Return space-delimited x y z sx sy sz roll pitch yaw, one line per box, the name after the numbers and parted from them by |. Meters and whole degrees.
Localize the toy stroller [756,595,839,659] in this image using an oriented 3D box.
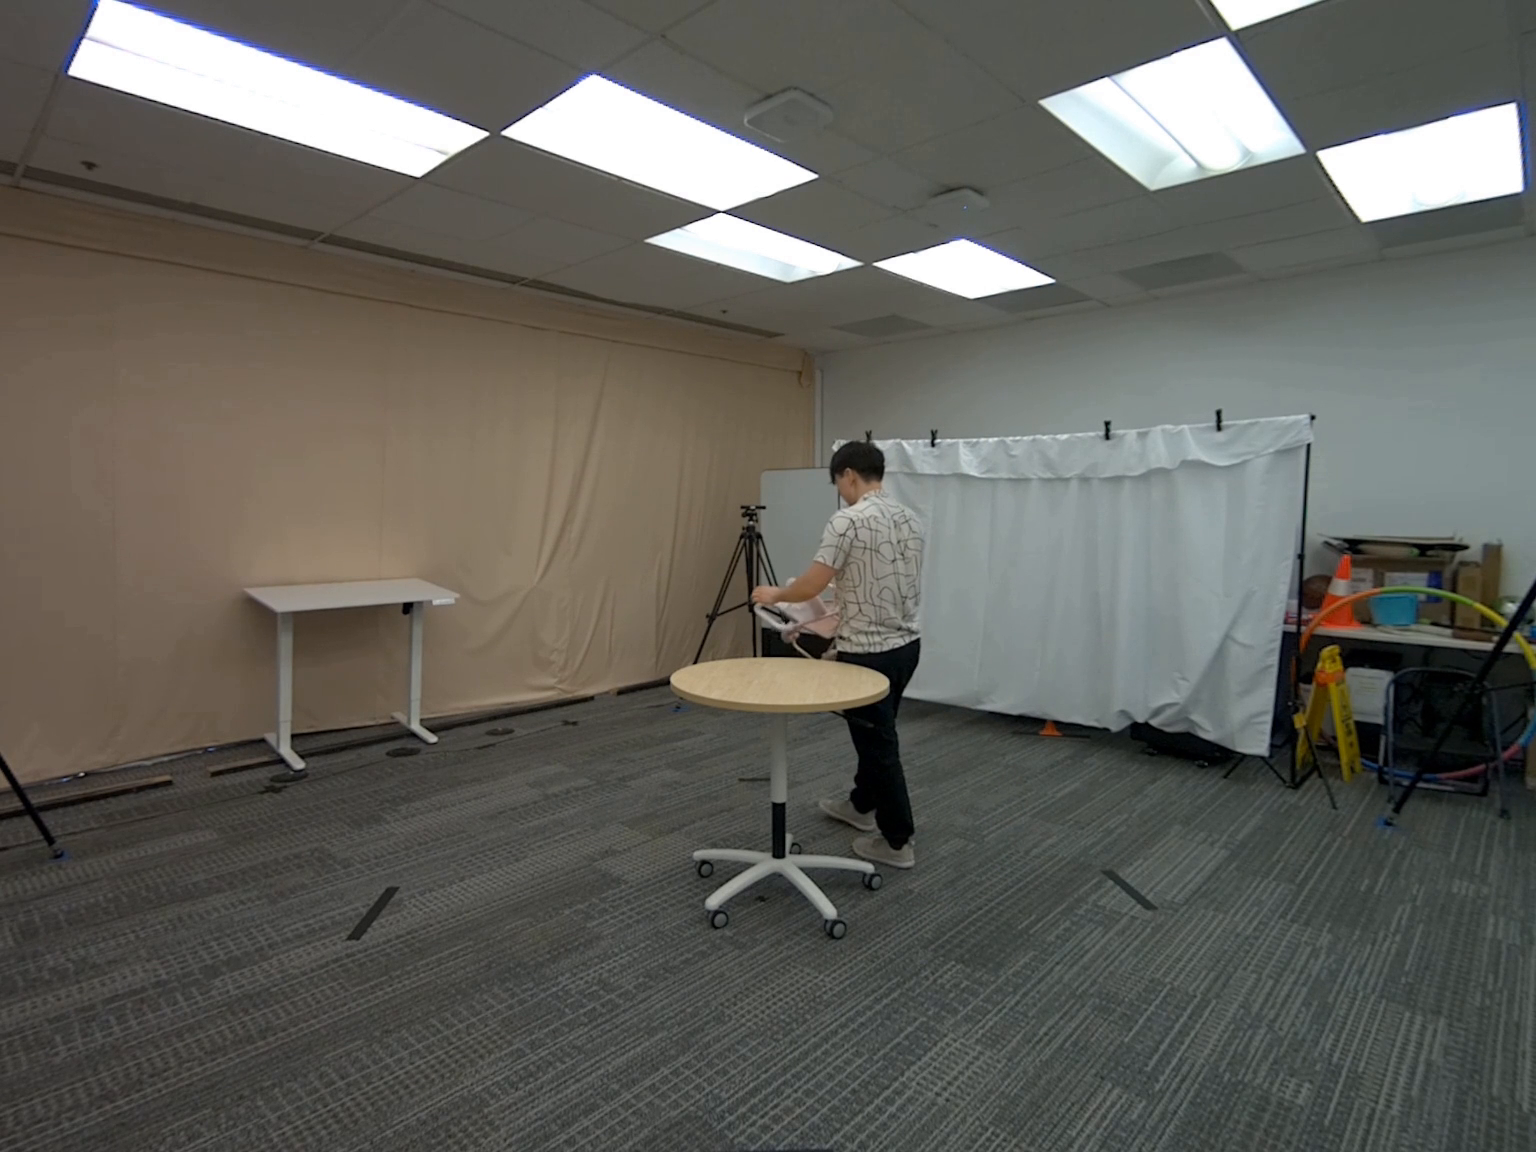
0.202 0.167 3.692 0.292 0.341 0.516 37 -6 38 | toy stroller
